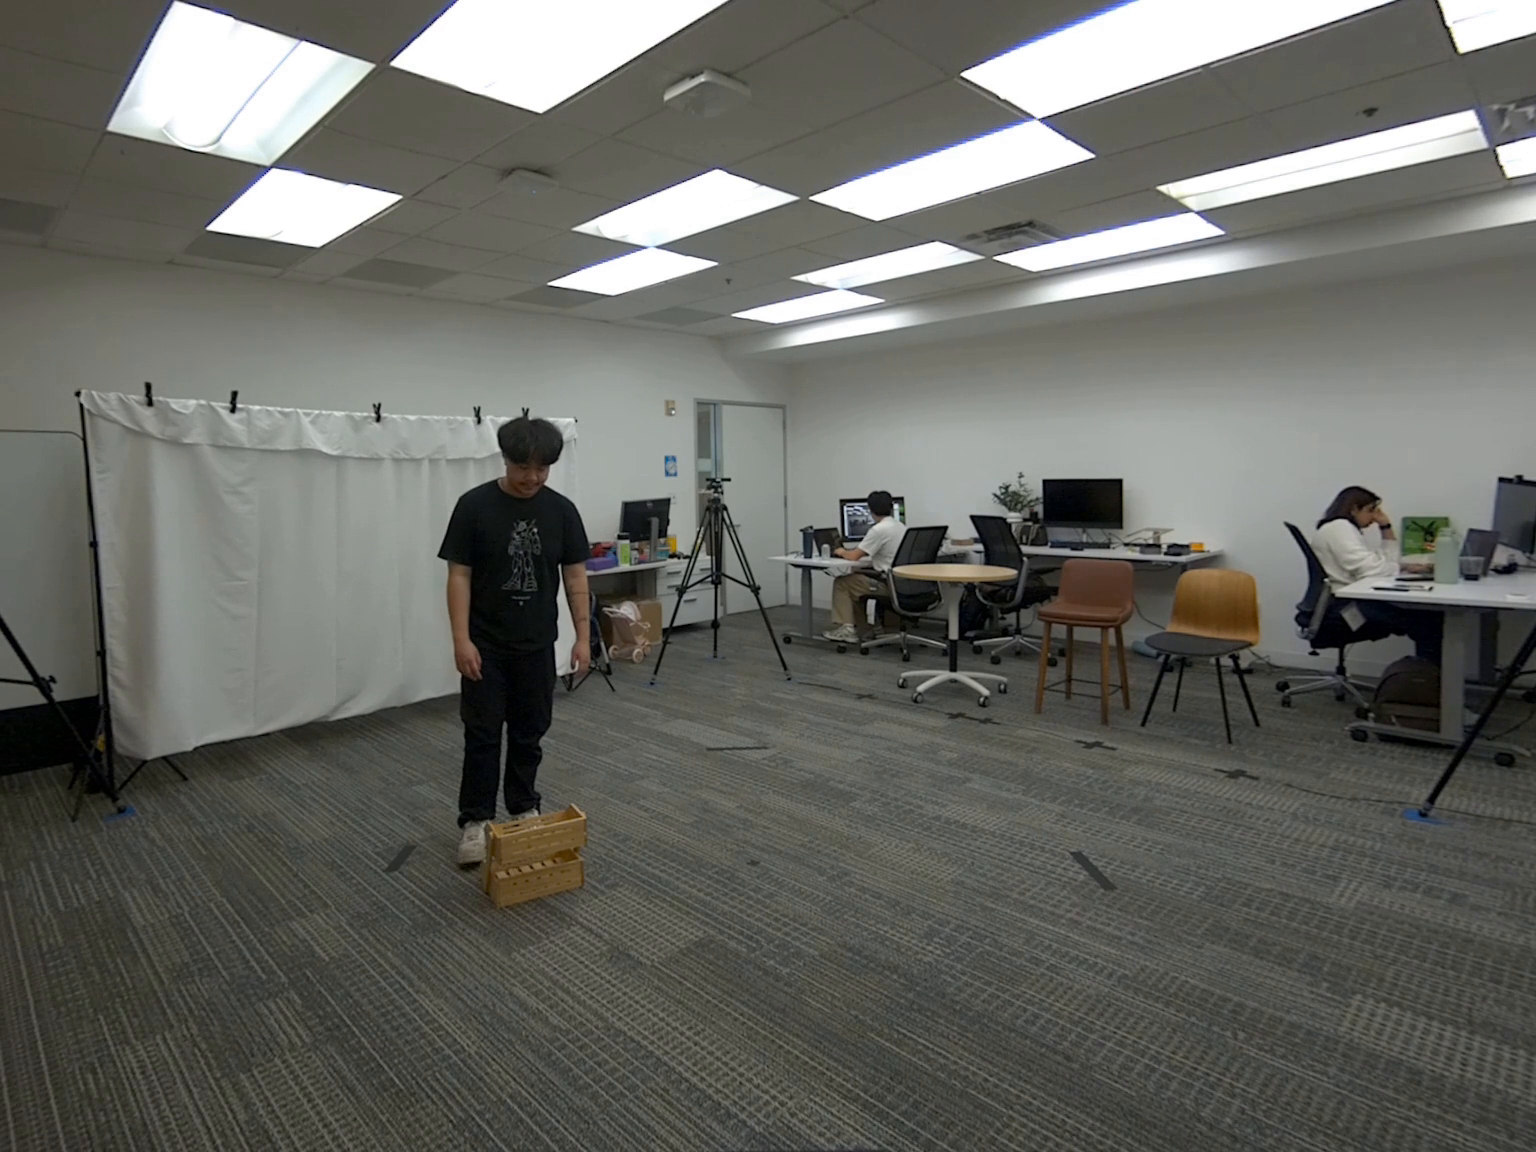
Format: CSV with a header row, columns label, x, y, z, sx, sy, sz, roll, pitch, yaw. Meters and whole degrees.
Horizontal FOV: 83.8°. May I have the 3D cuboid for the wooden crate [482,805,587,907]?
label,x,y,z,sx,sy,sz,roll,pitch,yaw
wooden crate,-0.818,0.945,2.958,0.317,0.272,0.310,-5,7,-30
